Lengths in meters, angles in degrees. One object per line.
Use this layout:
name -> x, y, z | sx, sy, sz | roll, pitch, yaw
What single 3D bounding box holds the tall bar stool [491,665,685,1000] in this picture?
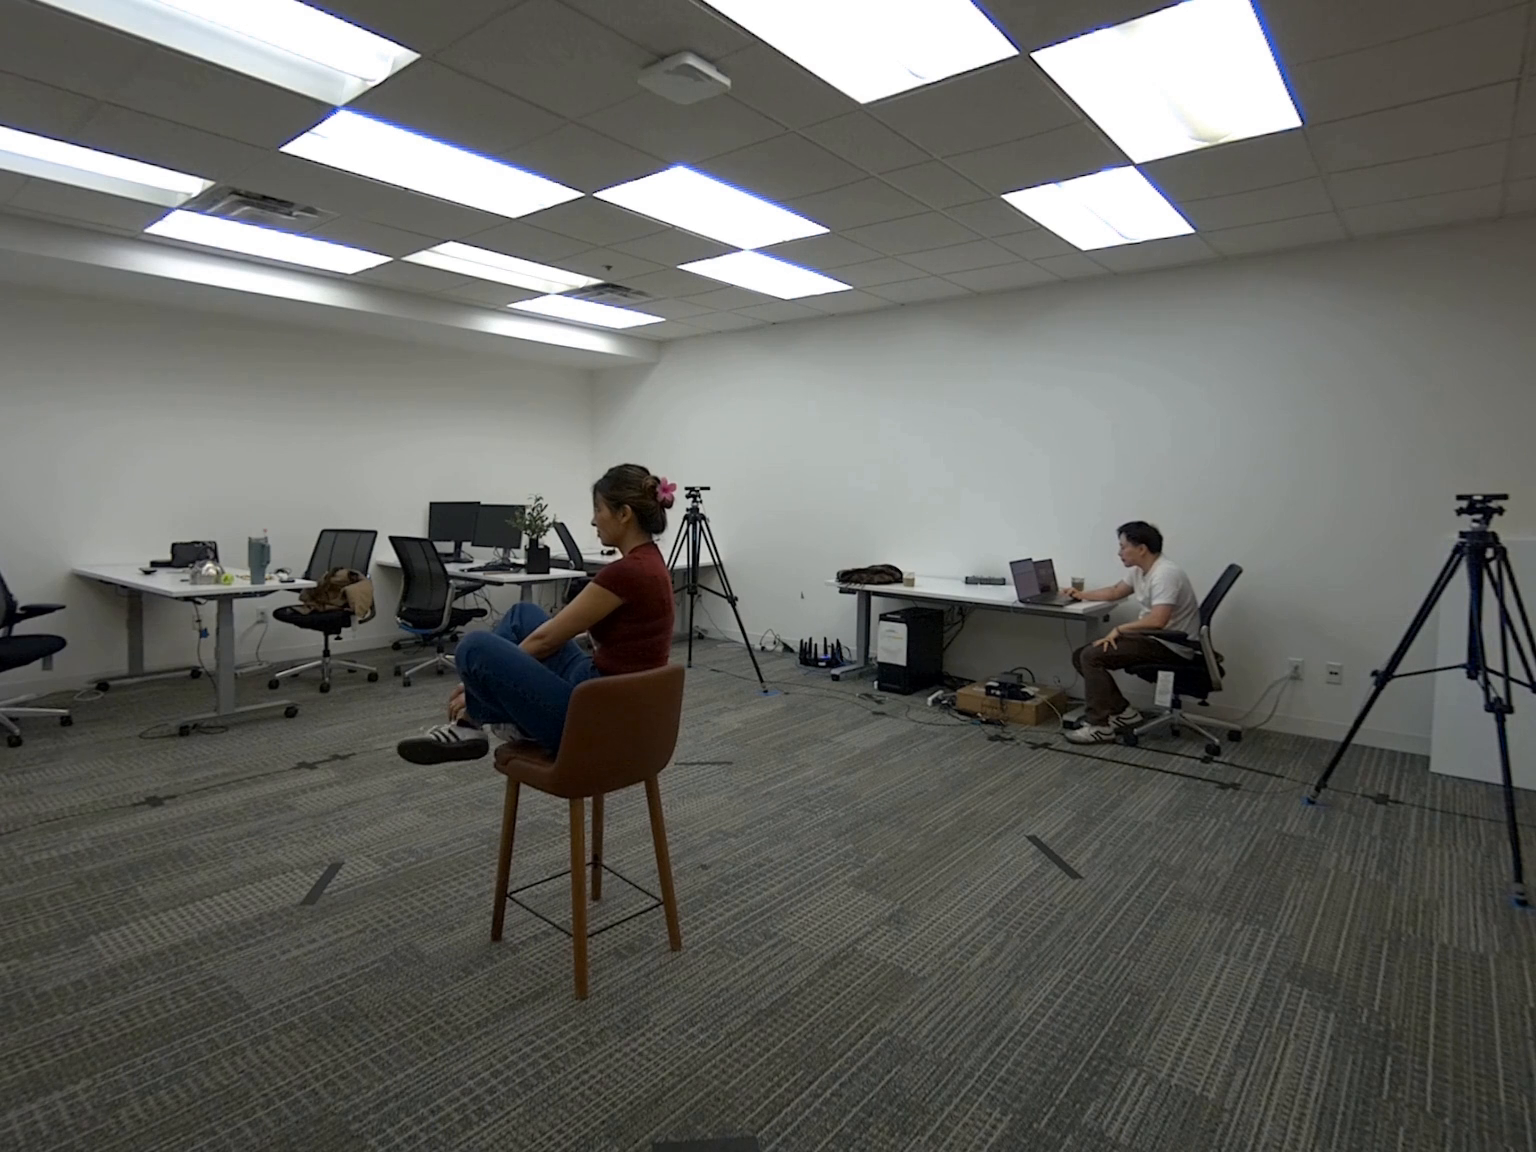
tall bar stool -> -0.548, 0.683, 2.549 | 0.484, 0.885, 0.443 | 7, 7, 43
